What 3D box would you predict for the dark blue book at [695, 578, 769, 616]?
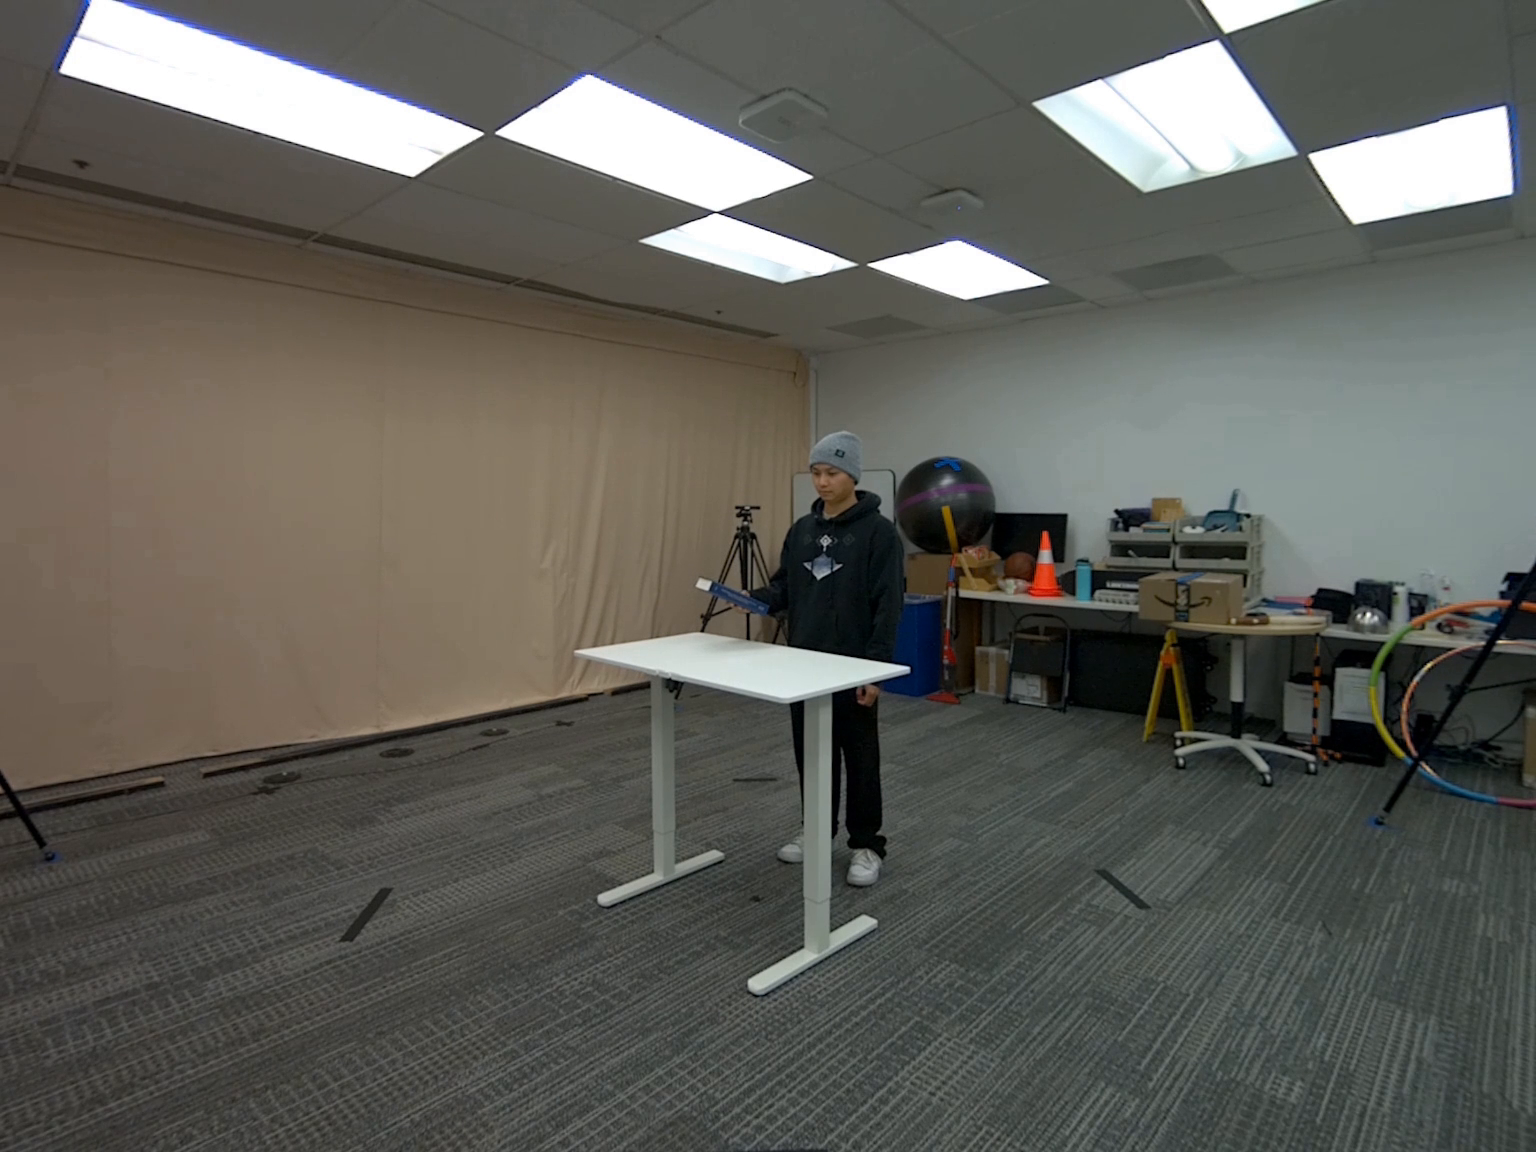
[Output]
[{"bbox_3d":[-0.130,0.077,3.114,0.239,0.045,0.167,25,-6,-23],"label":"dark blue book"}]
